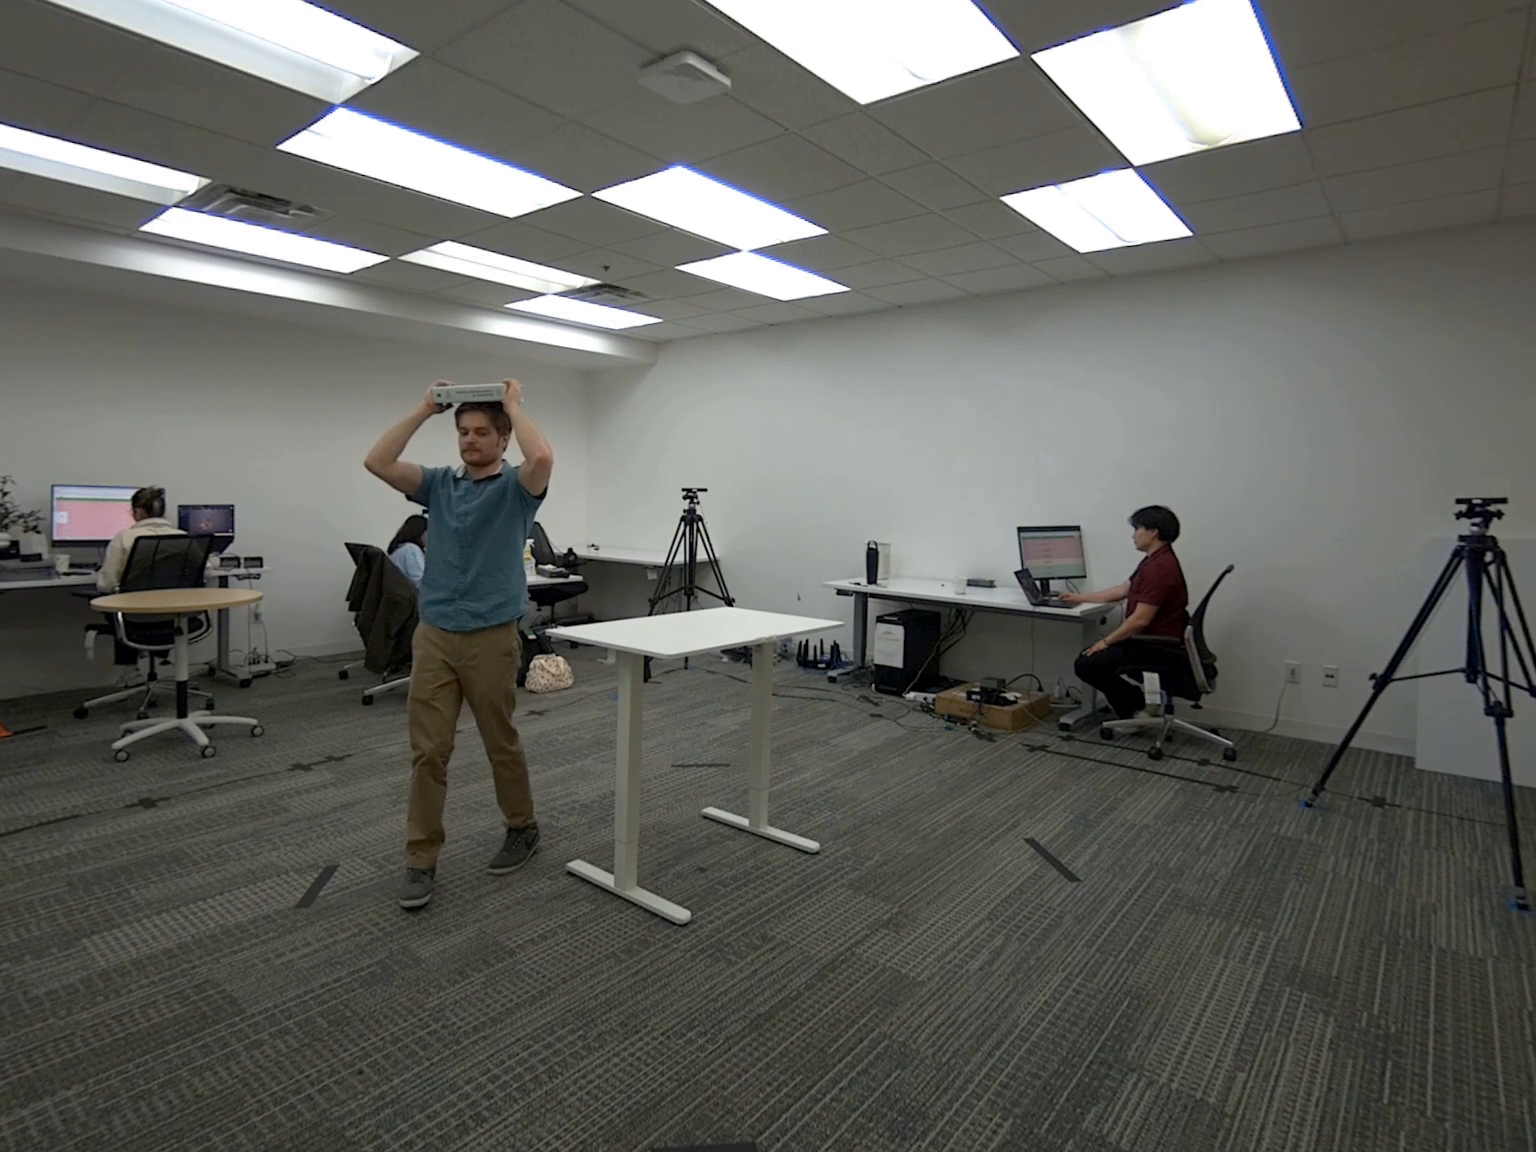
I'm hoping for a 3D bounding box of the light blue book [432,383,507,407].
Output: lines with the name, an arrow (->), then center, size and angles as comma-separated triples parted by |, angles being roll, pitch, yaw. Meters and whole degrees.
light blue book -> -1.045, -0.650, 3.011 | 0.263, 0.058, 0.191 | -1, 8, 8
